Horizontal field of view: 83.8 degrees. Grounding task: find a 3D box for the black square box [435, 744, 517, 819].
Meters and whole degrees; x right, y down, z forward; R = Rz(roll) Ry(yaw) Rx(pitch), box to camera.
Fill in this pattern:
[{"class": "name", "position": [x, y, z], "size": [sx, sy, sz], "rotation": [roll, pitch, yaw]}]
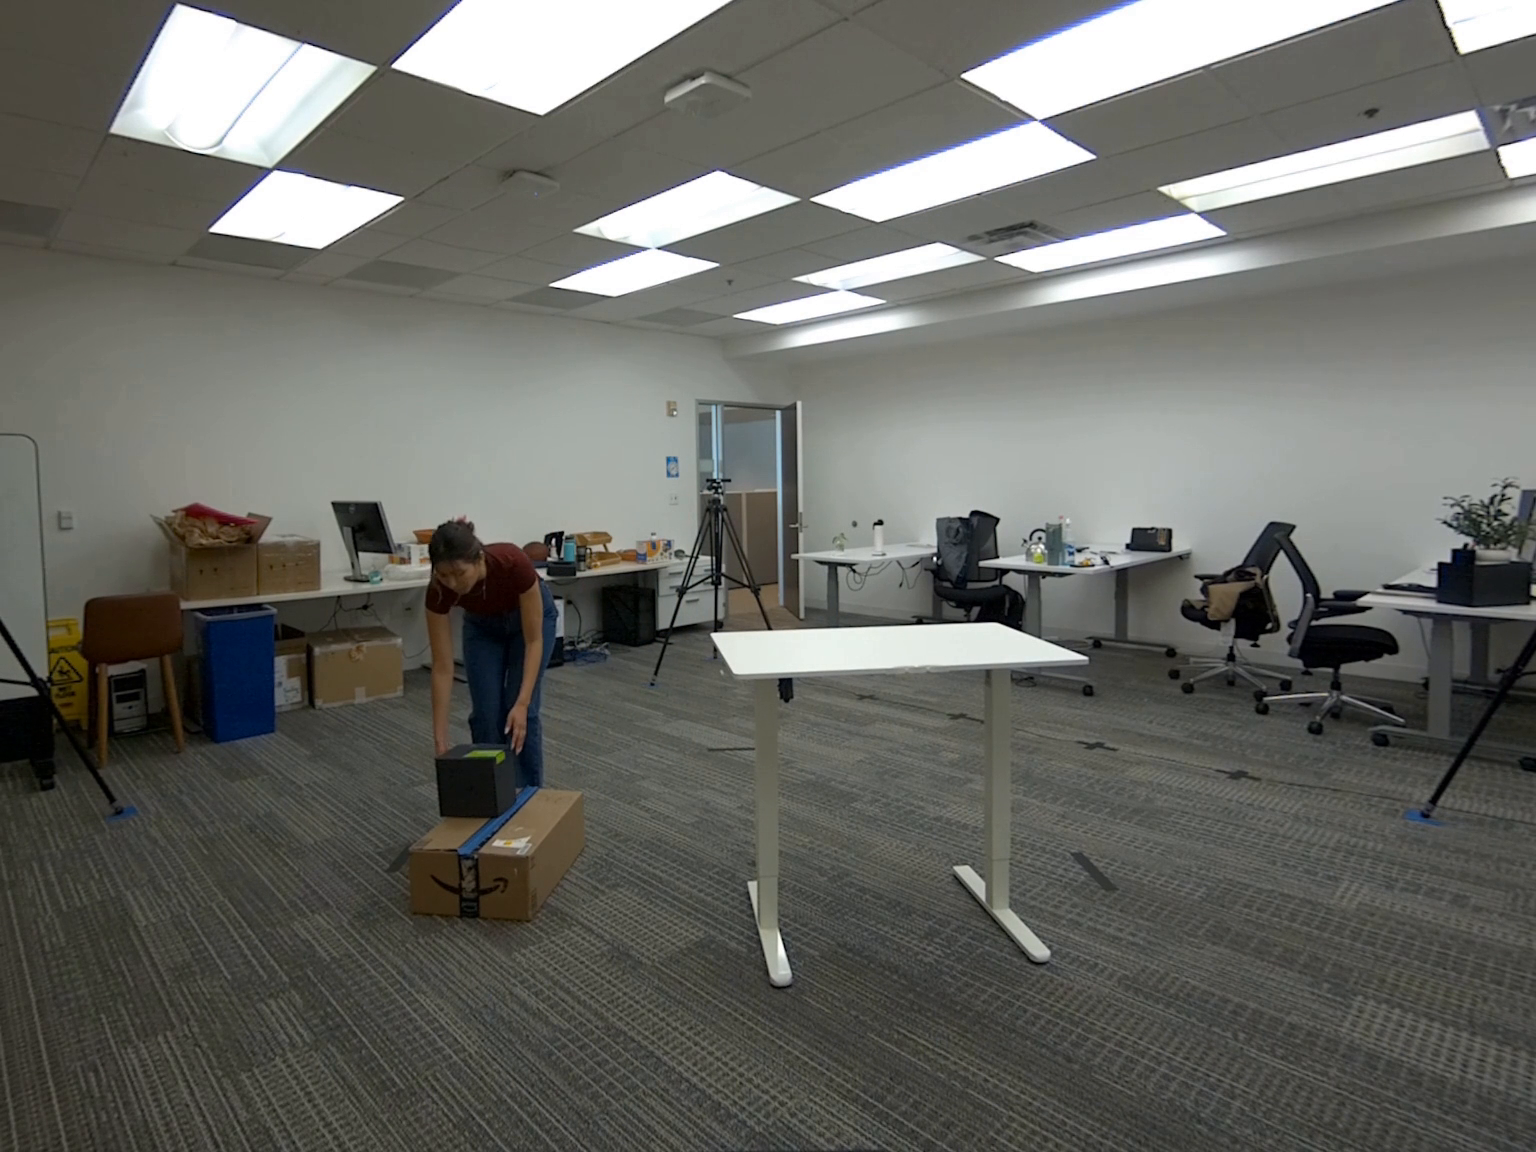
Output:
[{"class": "black square box", "position": [-1.056, 0.741, 3.096], "size": [0.230, 0.216, 0.155], "rotation": [-3, 4, 12]}]
